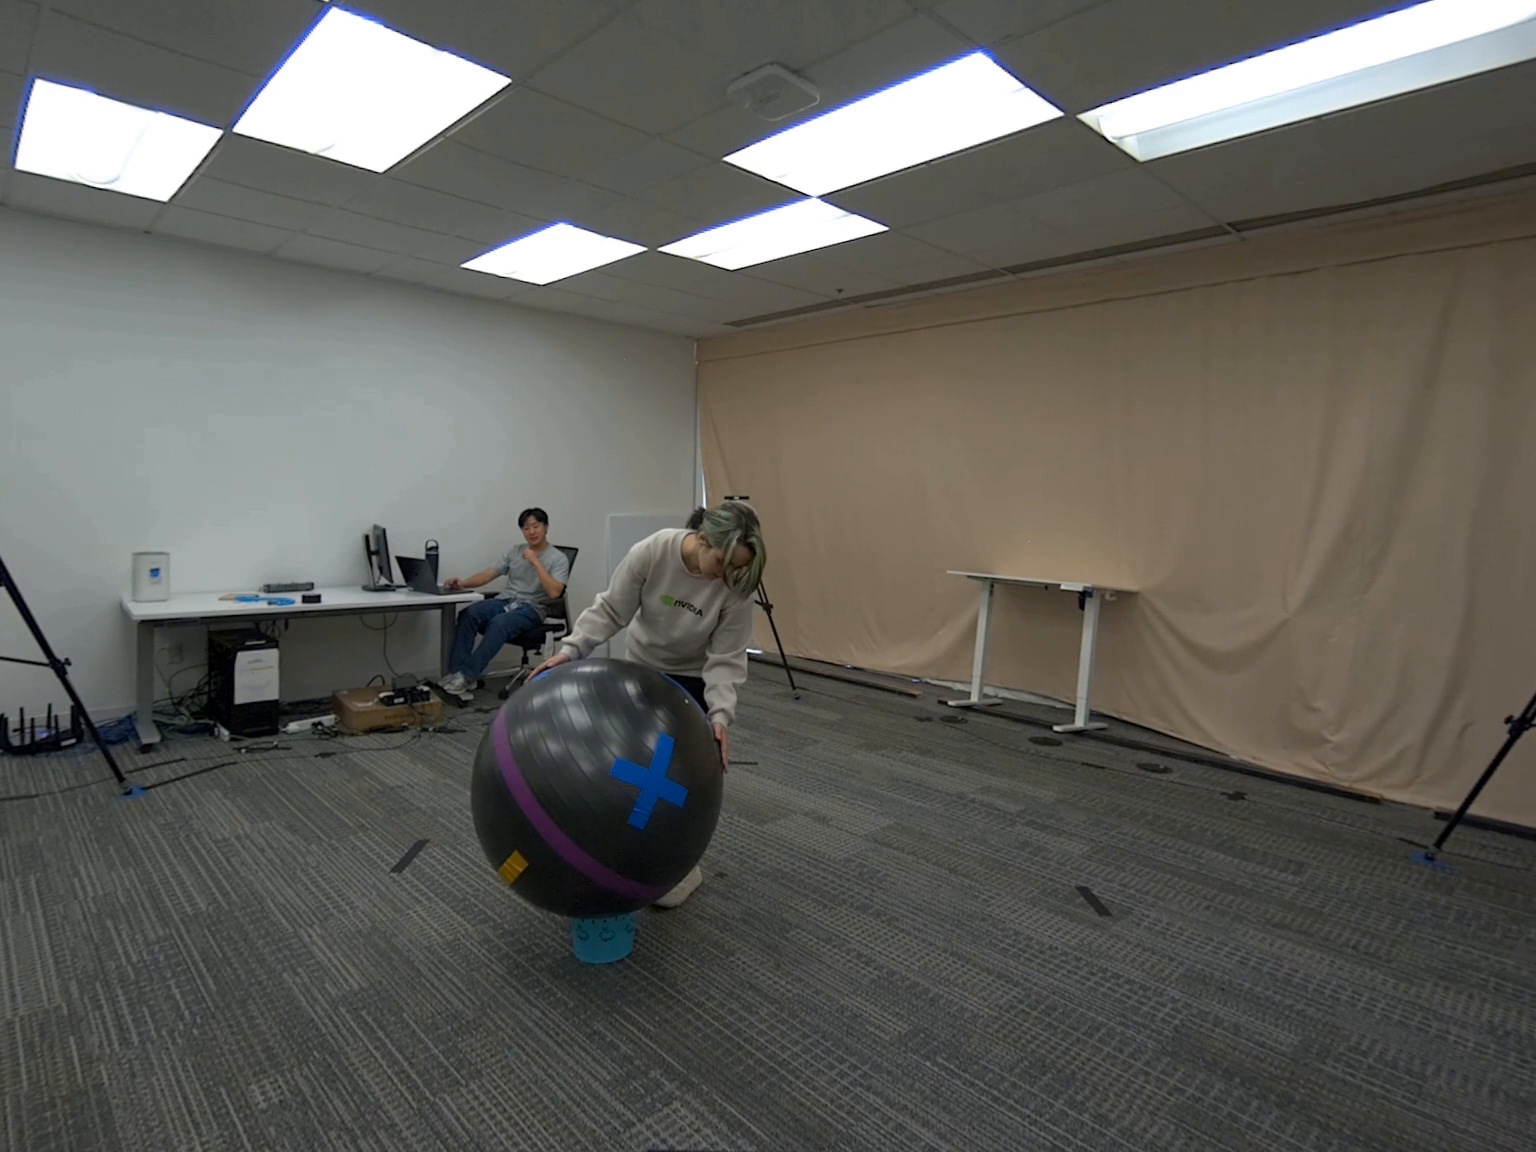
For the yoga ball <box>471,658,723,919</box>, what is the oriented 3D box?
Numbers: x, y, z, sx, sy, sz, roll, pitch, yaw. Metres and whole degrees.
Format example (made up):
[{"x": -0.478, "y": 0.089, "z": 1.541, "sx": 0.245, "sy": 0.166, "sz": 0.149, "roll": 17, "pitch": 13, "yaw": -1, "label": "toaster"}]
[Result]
[{"x": -0.519, "y": 0.634, "z": 2.551, "sx": 0.757, "sy": 0.756, "sz": 0.761, "roll": 1, "pitch": 4, "yaw": -1, "label": "yoga ball"}]
